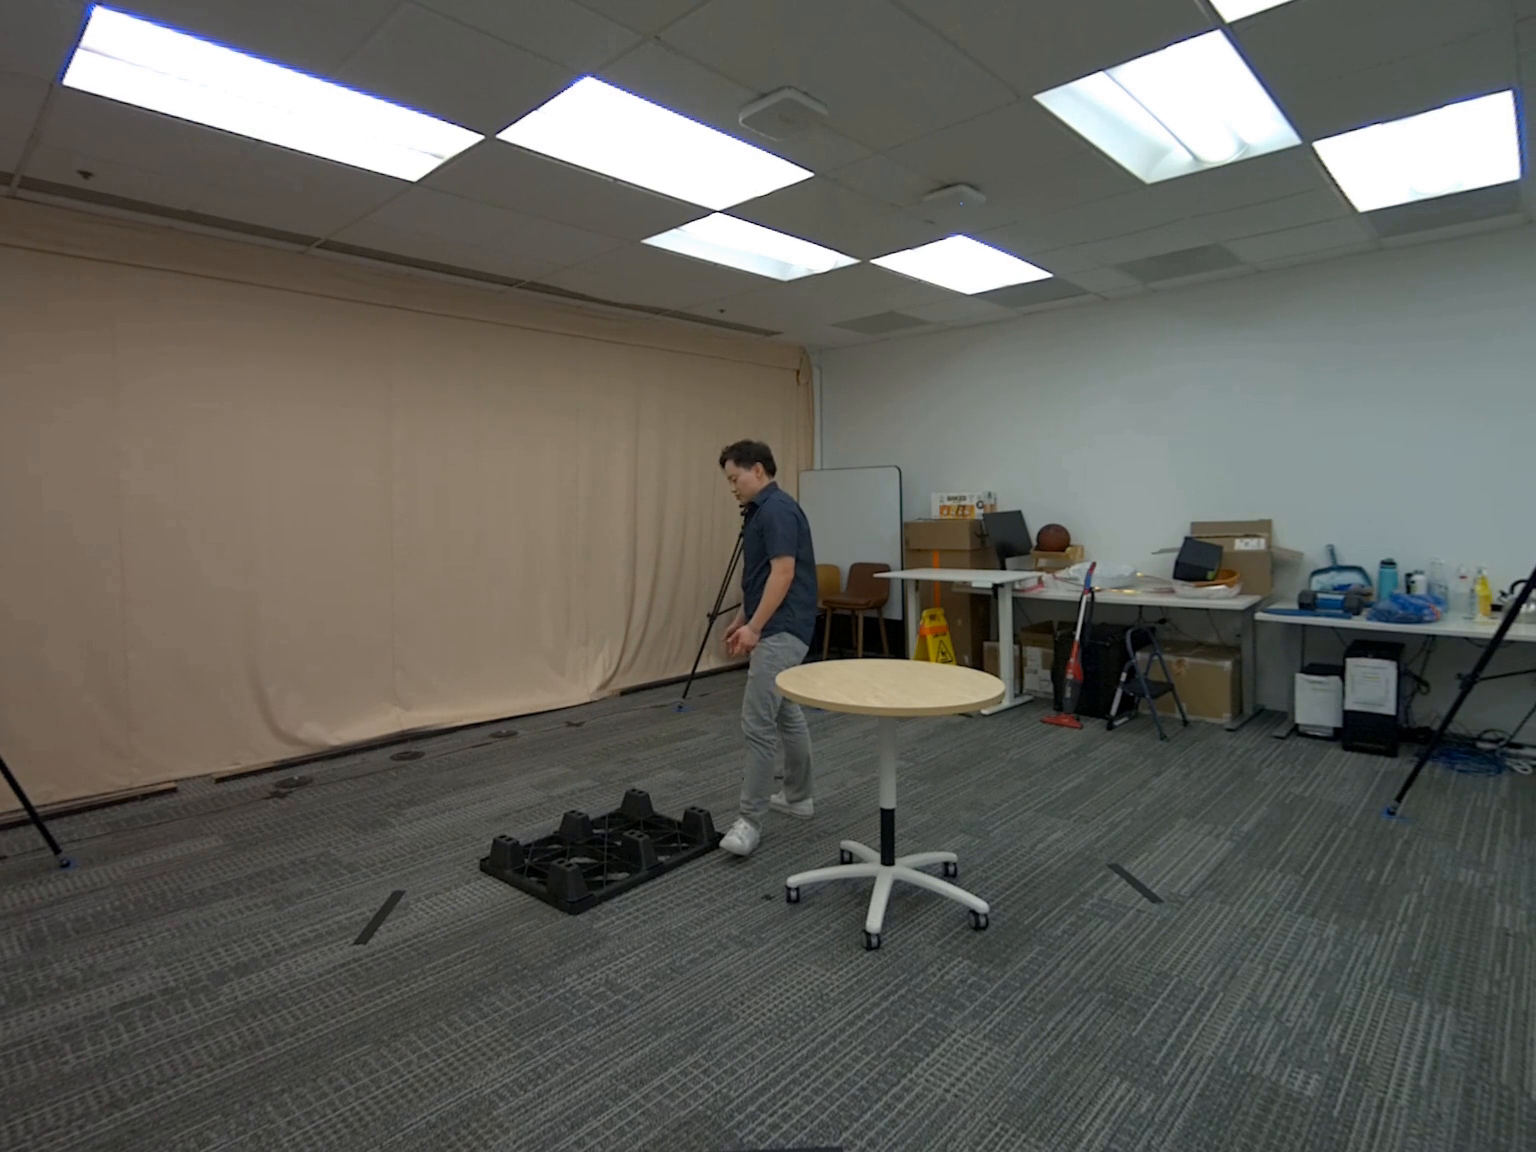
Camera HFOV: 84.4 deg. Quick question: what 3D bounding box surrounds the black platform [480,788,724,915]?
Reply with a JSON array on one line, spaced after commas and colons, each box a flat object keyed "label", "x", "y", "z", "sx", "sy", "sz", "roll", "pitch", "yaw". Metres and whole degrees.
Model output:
[{"label": "black platform", "x": -0.646, "y": 1.055, "z": 3.367, "sx": 0.625, "sy": 0.143, "sz": 0.781, "roll": 3, "pitch": 6, "yaw": 40}]
